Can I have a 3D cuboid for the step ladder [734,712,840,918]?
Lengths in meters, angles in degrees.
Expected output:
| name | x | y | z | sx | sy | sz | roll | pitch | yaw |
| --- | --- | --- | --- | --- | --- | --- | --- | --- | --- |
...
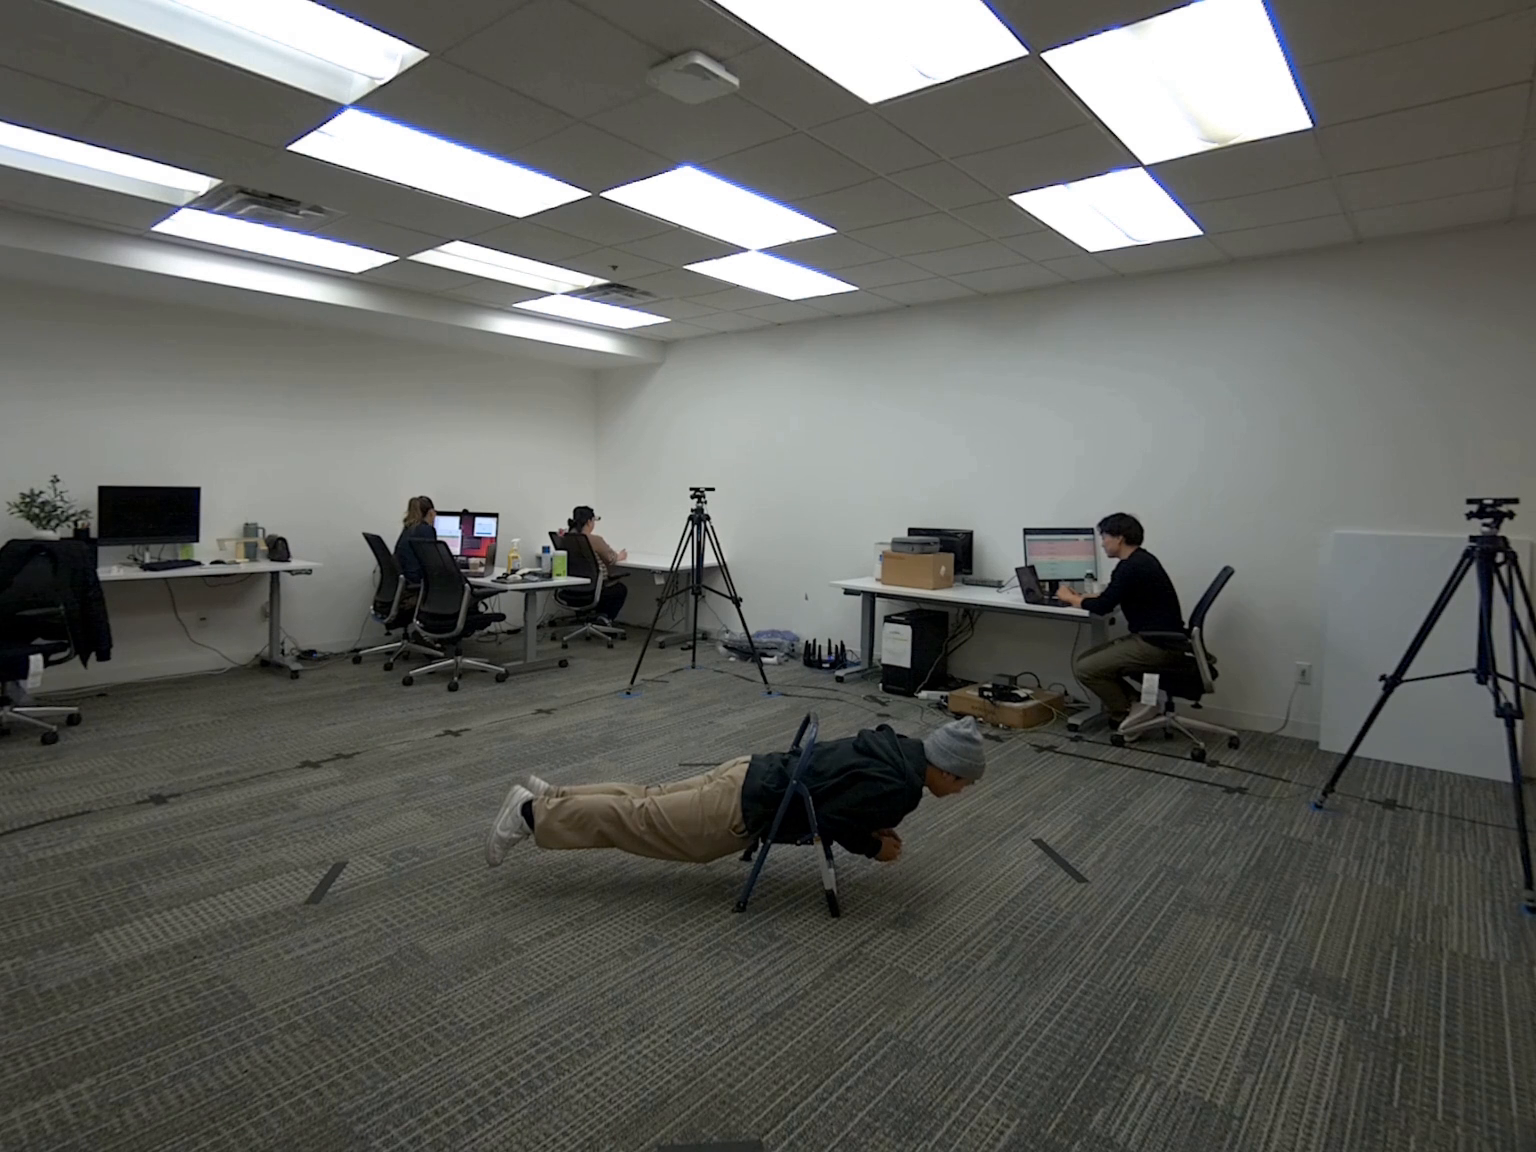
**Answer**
| name | x | y | z | sx | sy | sz | roll | pitch | yaw |
| --- | --- | --- | --- | --- | --- | --- | --- | --- | --- |
| step ladder | 0.073 | 0.788 | 2.968 | 0.350 | 0.604 | 0.431 | 3 | 4 | 1 |
